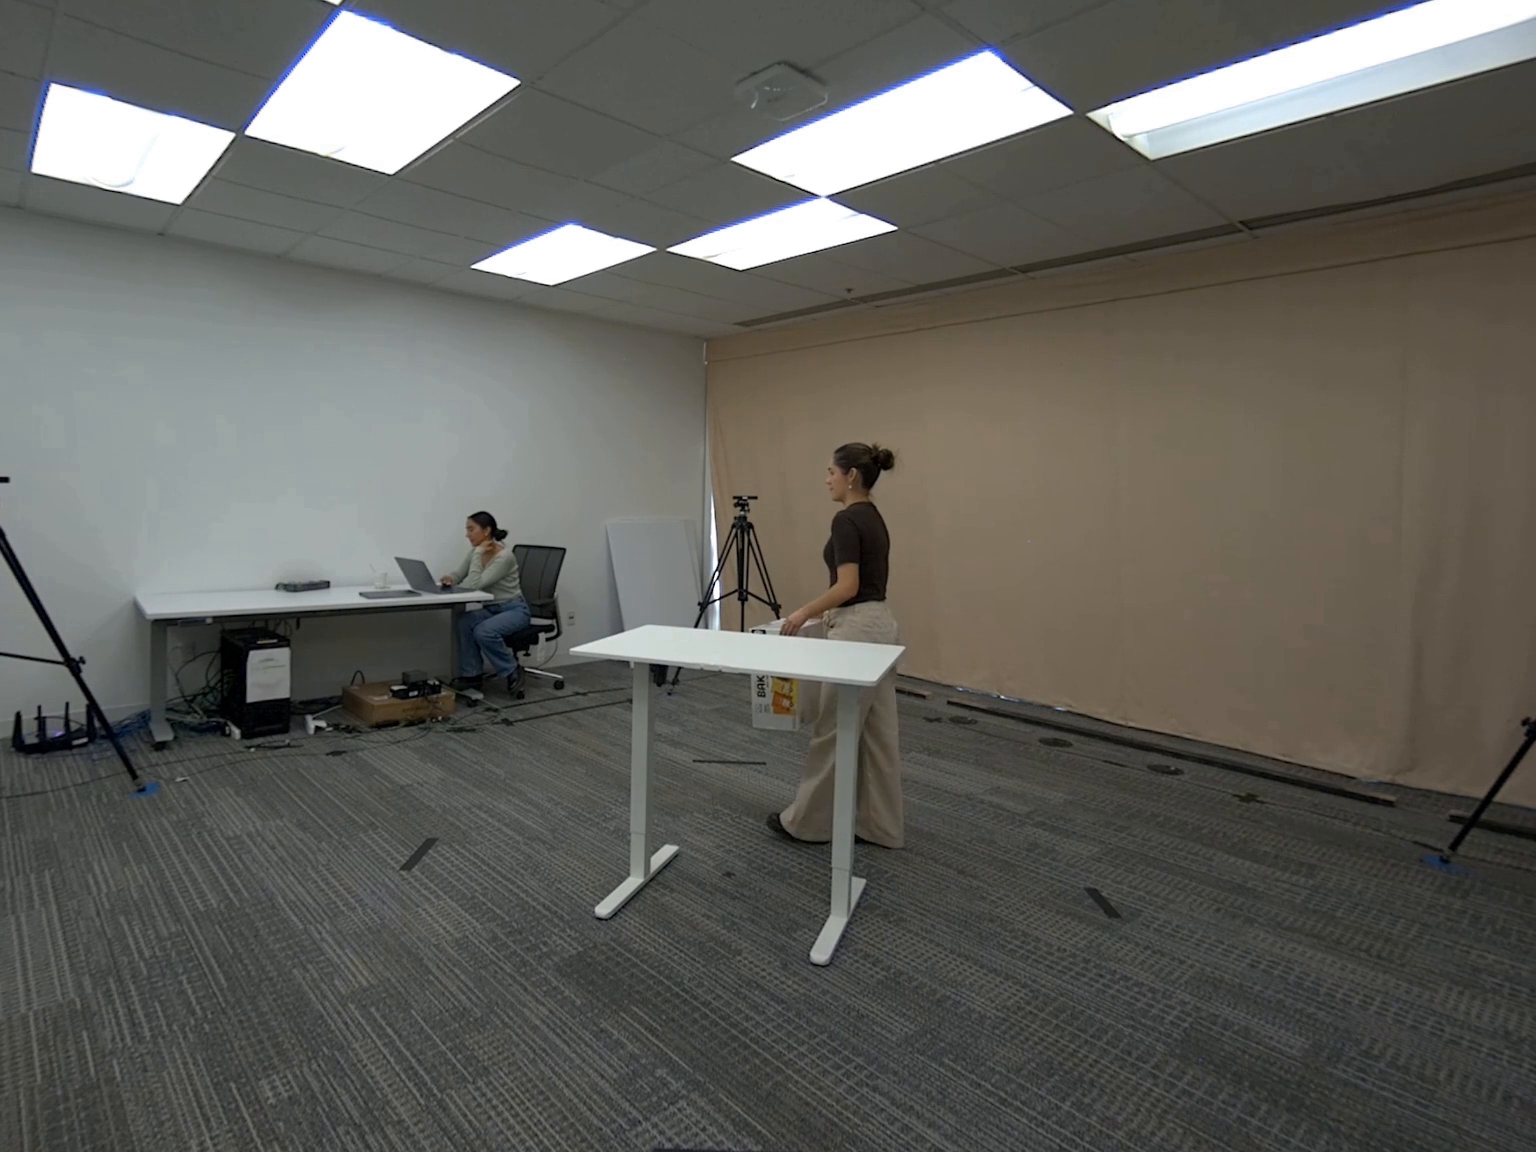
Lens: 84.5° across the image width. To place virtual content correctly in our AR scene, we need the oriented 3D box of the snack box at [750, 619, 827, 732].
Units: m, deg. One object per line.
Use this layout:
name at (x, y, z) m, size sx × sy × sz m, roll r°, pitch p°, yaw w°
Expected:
snack box at (0.085, 0.402, 3.535) m, size 0.209 × 0.404 × 0.335 m, roll -1°, pitch 3°, yaw 24°
